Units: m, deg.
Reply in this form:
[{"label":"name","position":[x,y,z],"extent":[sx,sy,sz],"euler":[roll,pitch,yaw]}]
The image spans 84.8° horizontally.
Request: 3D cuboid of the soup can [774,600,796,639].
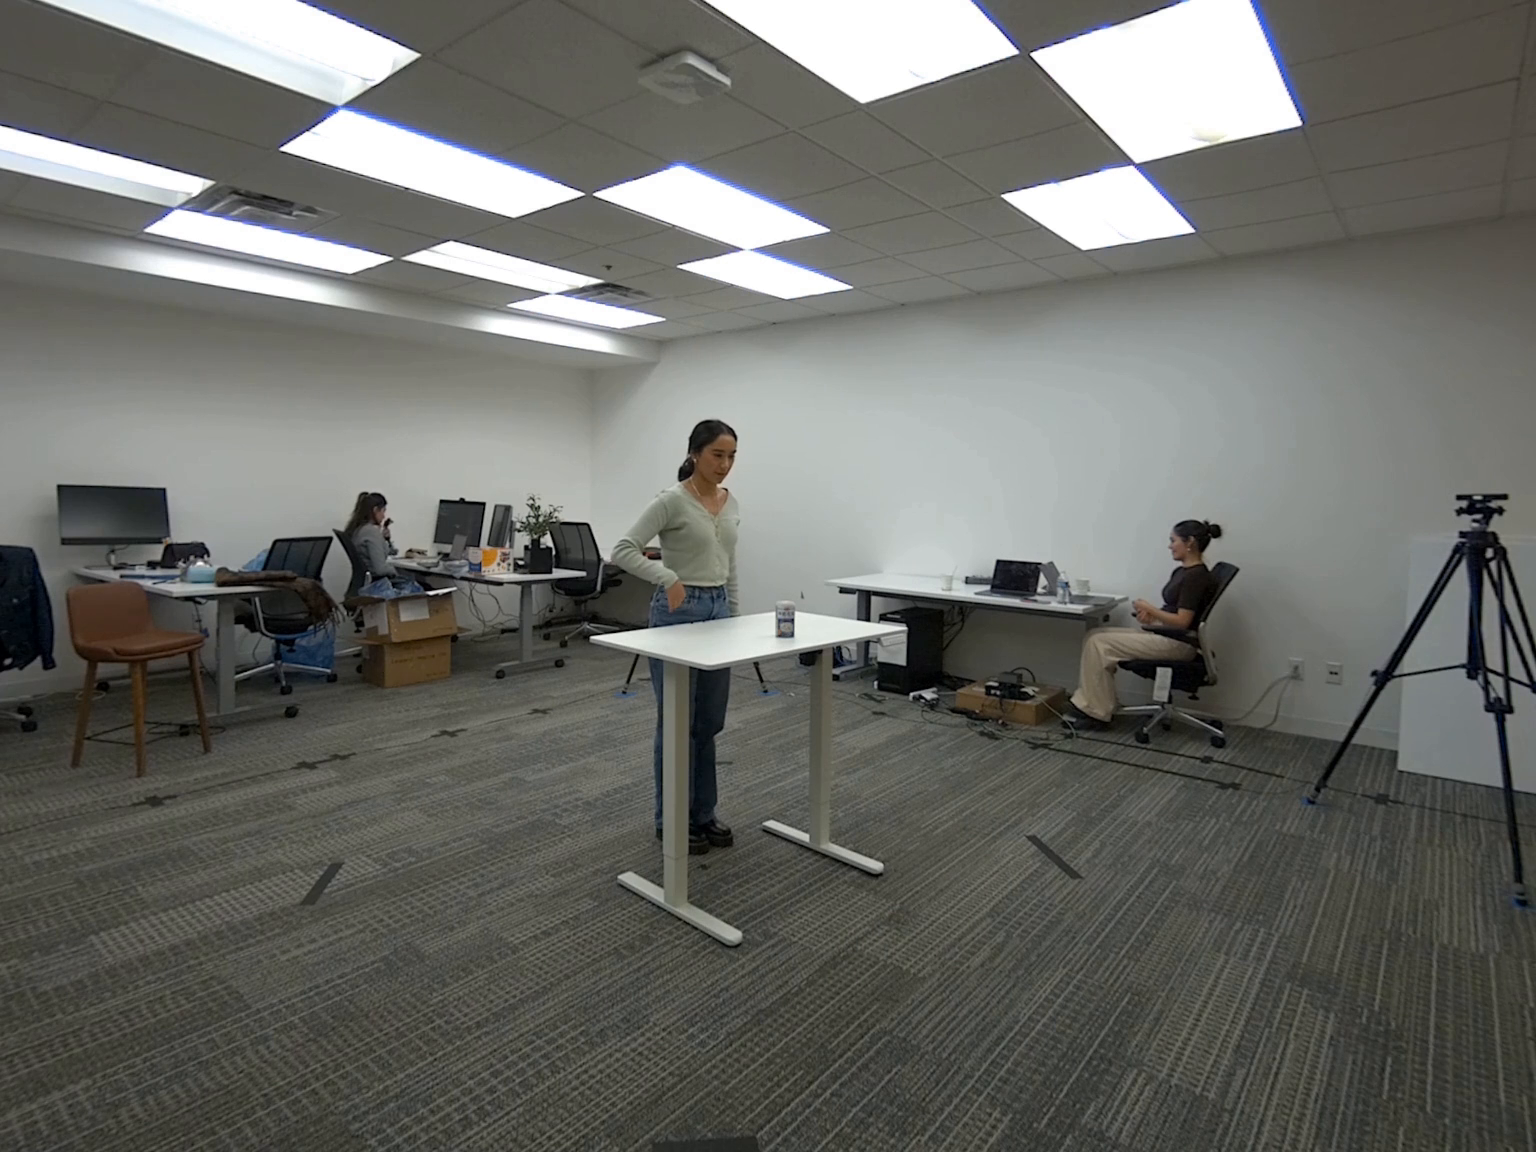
[{"label":"soup can","position":[0.049,0.149,2.904],"extent":[0.067,0.121,0.067],"euler":[0,2,-2]}]
